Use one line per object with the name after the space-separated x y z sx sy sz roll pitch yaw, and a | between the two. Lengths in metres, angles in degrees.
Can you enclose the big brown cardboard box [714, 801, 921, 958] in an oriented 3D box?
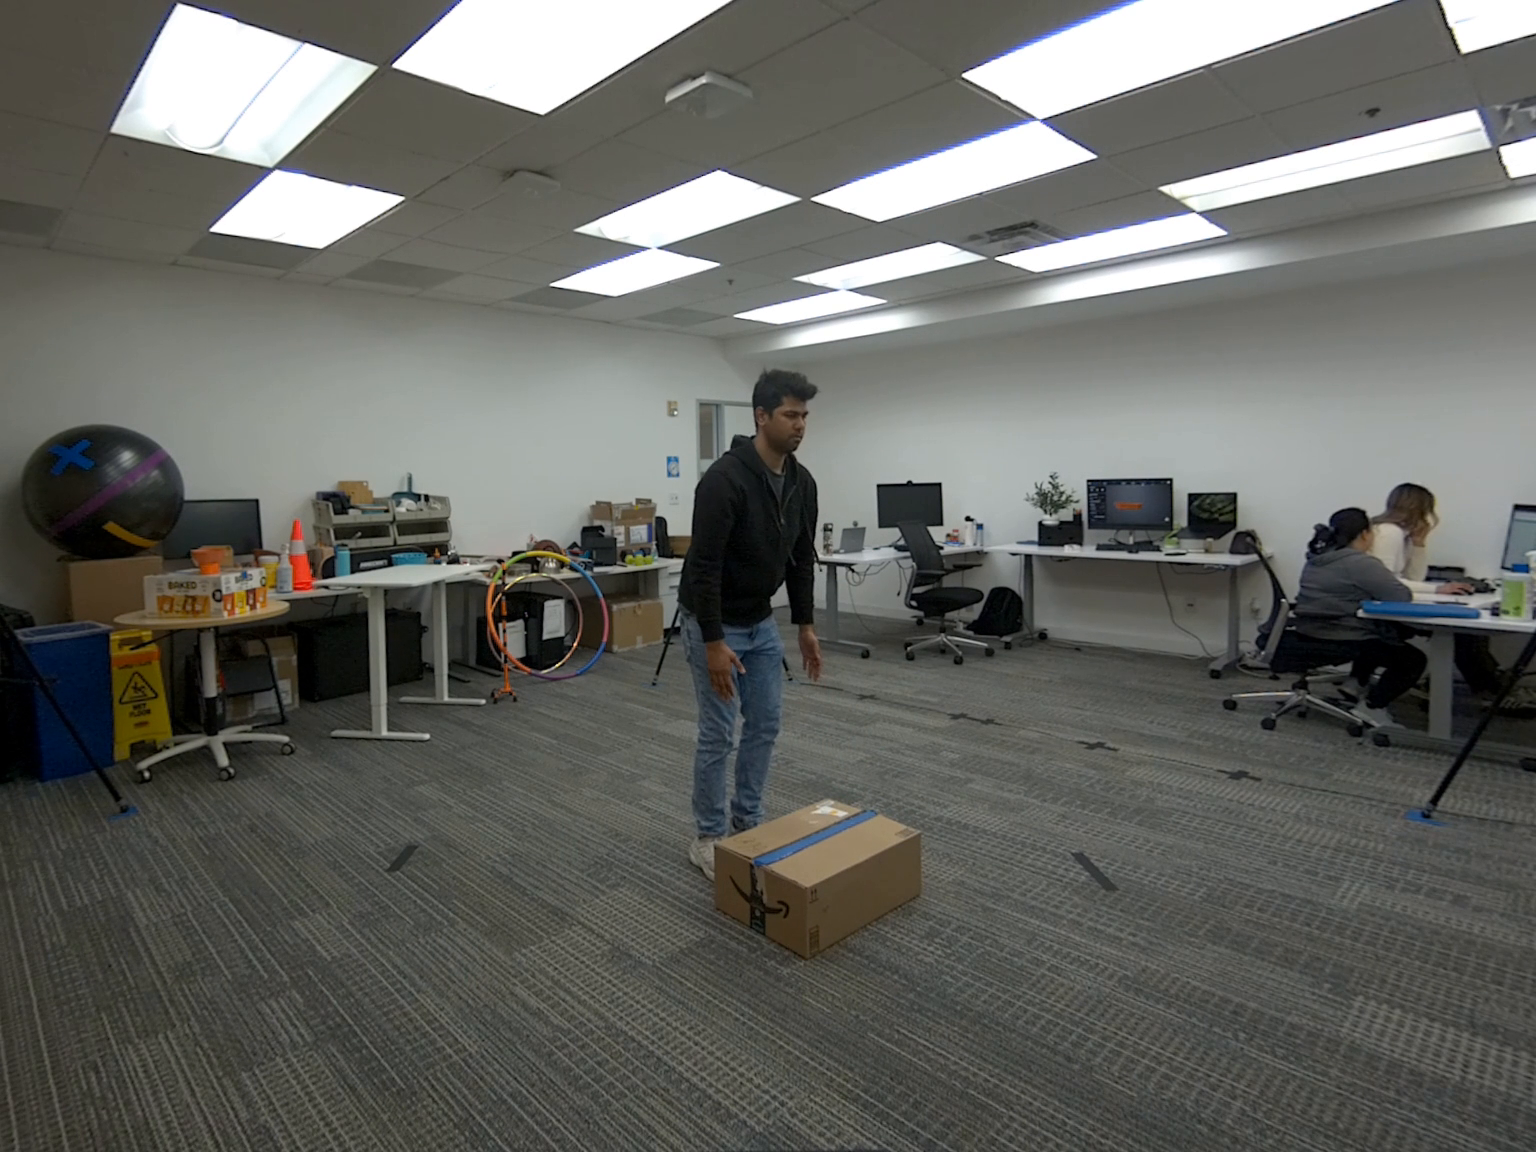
0.170 0.962 2.813 0.574 0.232 0.430 -7 9 -43 | big brown cardboard box
